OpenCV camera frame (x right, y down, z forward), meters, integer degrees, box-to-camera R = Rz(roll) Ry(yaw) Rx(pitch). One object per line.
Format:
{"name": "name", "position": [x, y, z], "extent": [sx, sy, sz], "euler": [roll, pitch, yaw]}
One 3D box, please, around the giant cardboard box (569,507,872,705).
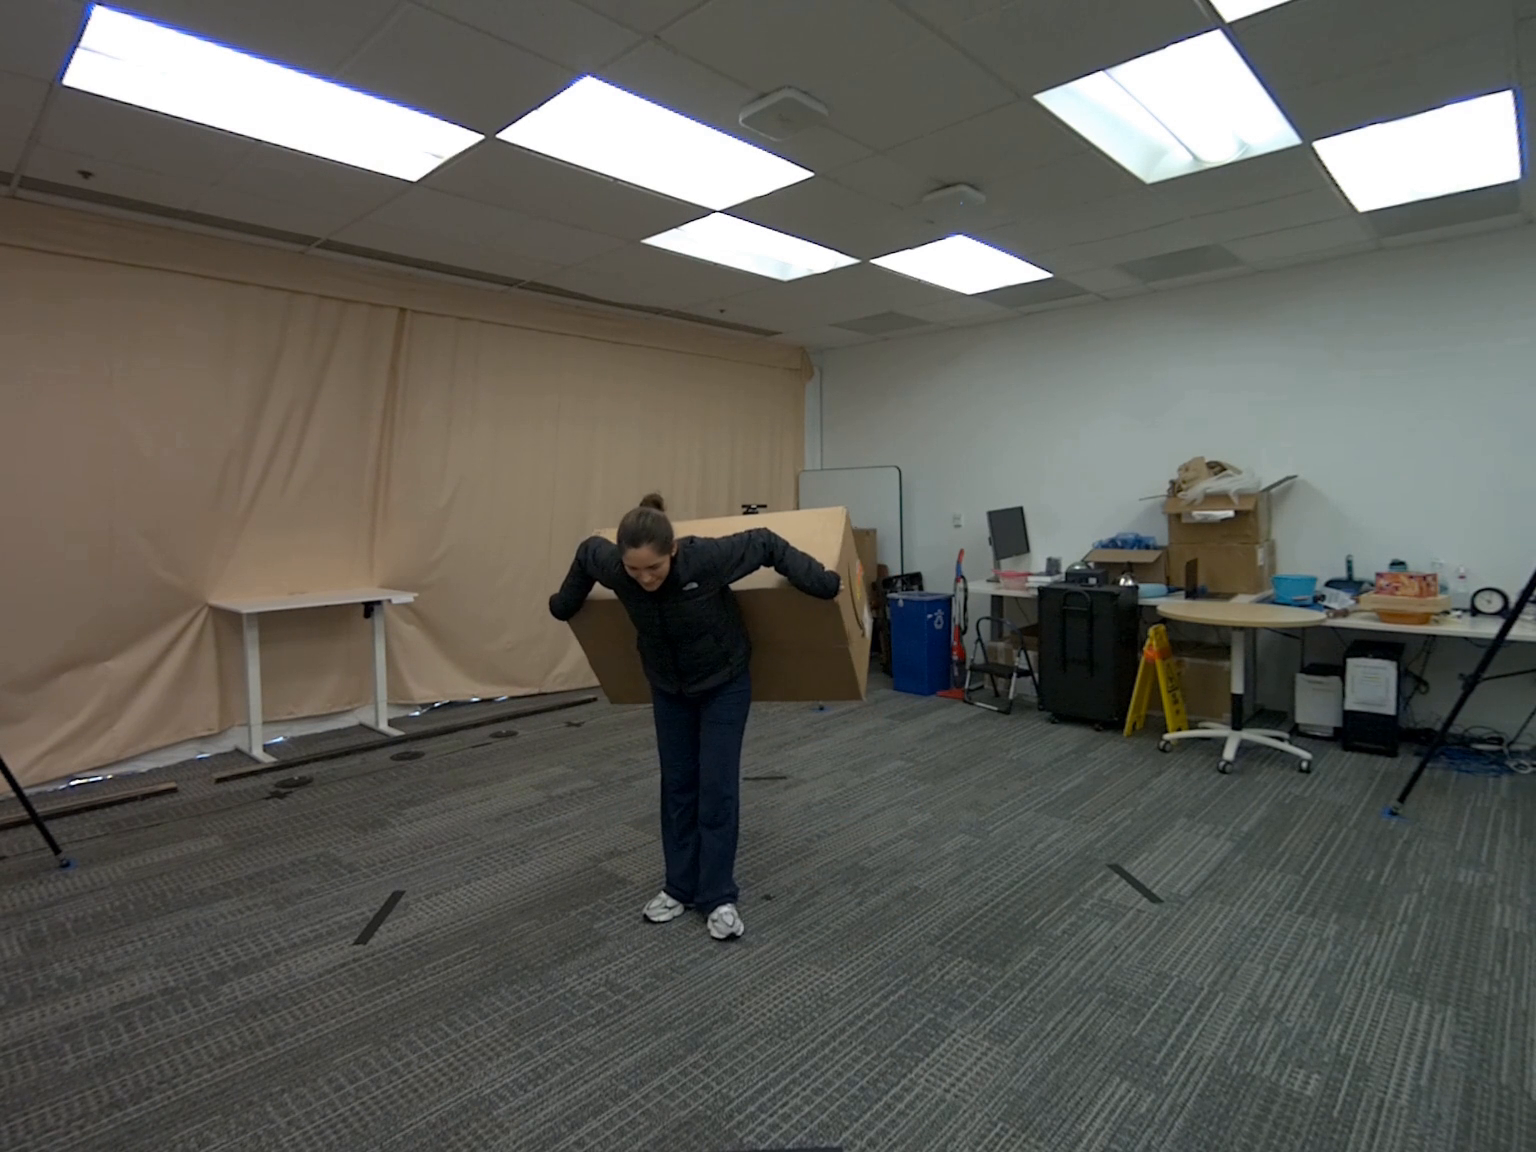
{"name": "giant cardboard box", "position": [-0.159, 0.135, 3.196], "extent": [1.045, 0.562, 0.430], "euler": [-4, 40, 19]}
